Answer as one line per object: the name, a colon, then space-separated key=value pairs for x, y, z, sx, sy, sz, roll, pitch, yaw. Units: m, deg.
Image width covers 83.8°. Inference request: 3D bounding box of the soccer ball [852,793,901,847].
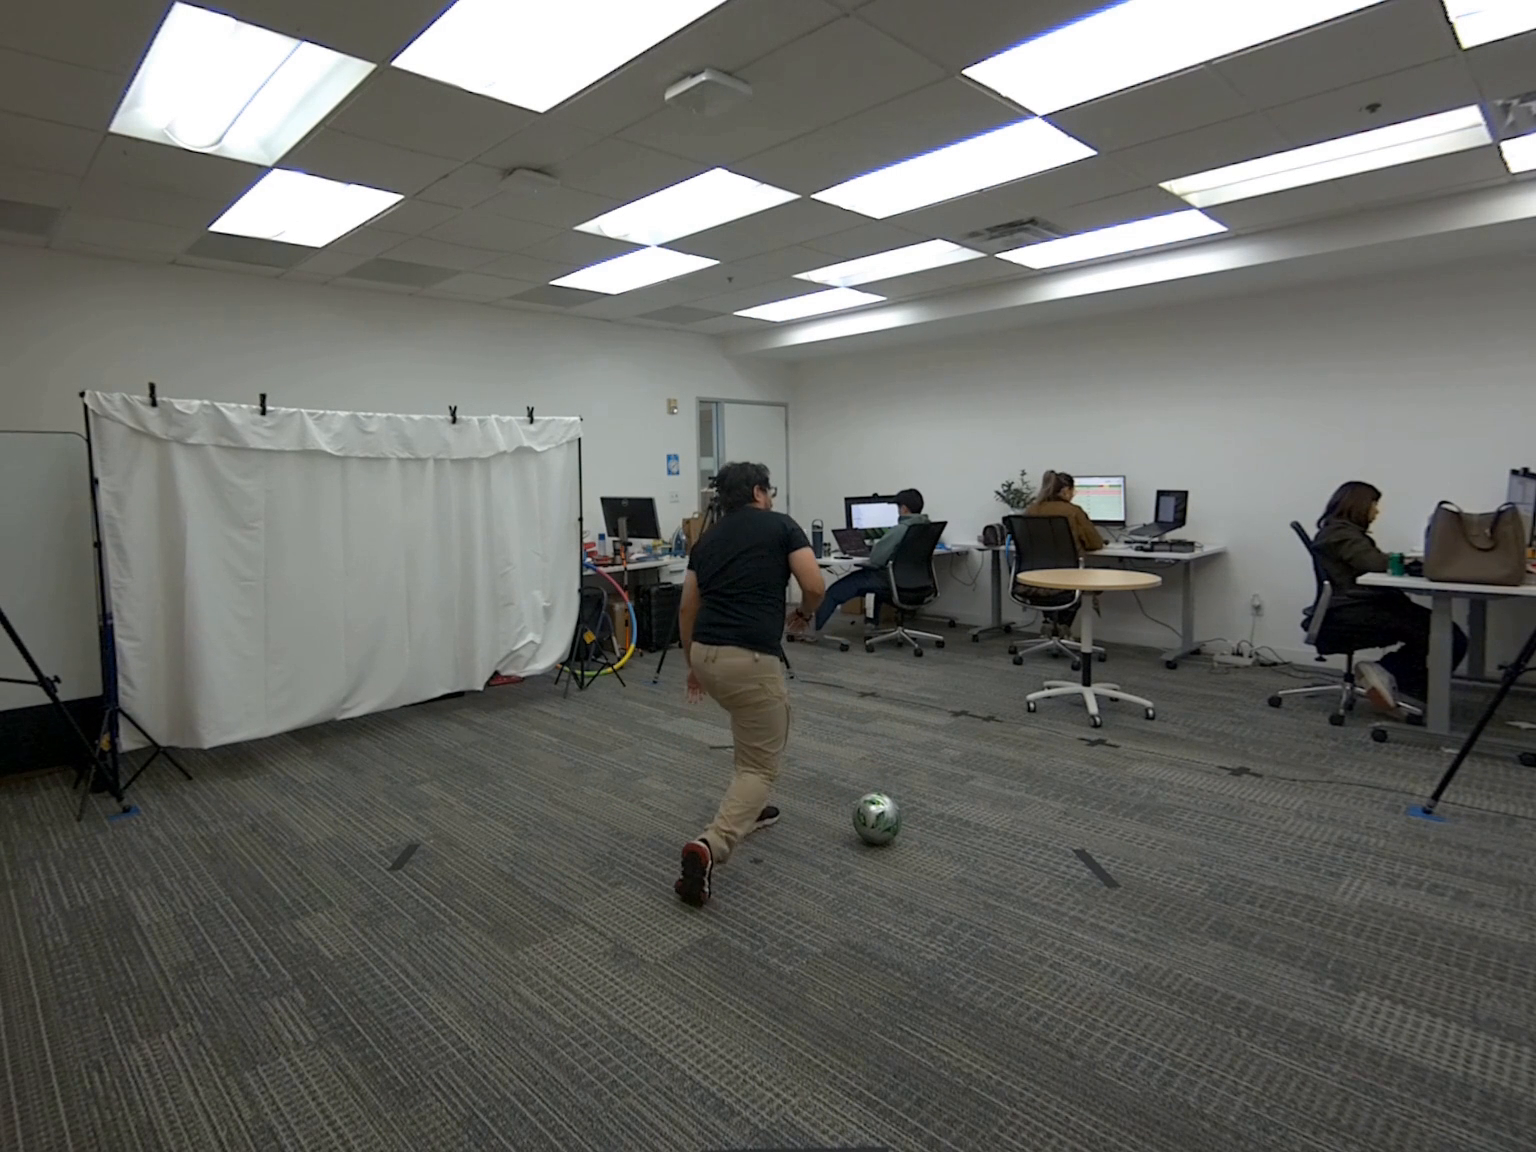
soccer ball: x=0.413 y=0.919 z=3.243 sx=0.187 sy=0.187 sz=0.188 roll=-1 pitch=5 yaw=-2
